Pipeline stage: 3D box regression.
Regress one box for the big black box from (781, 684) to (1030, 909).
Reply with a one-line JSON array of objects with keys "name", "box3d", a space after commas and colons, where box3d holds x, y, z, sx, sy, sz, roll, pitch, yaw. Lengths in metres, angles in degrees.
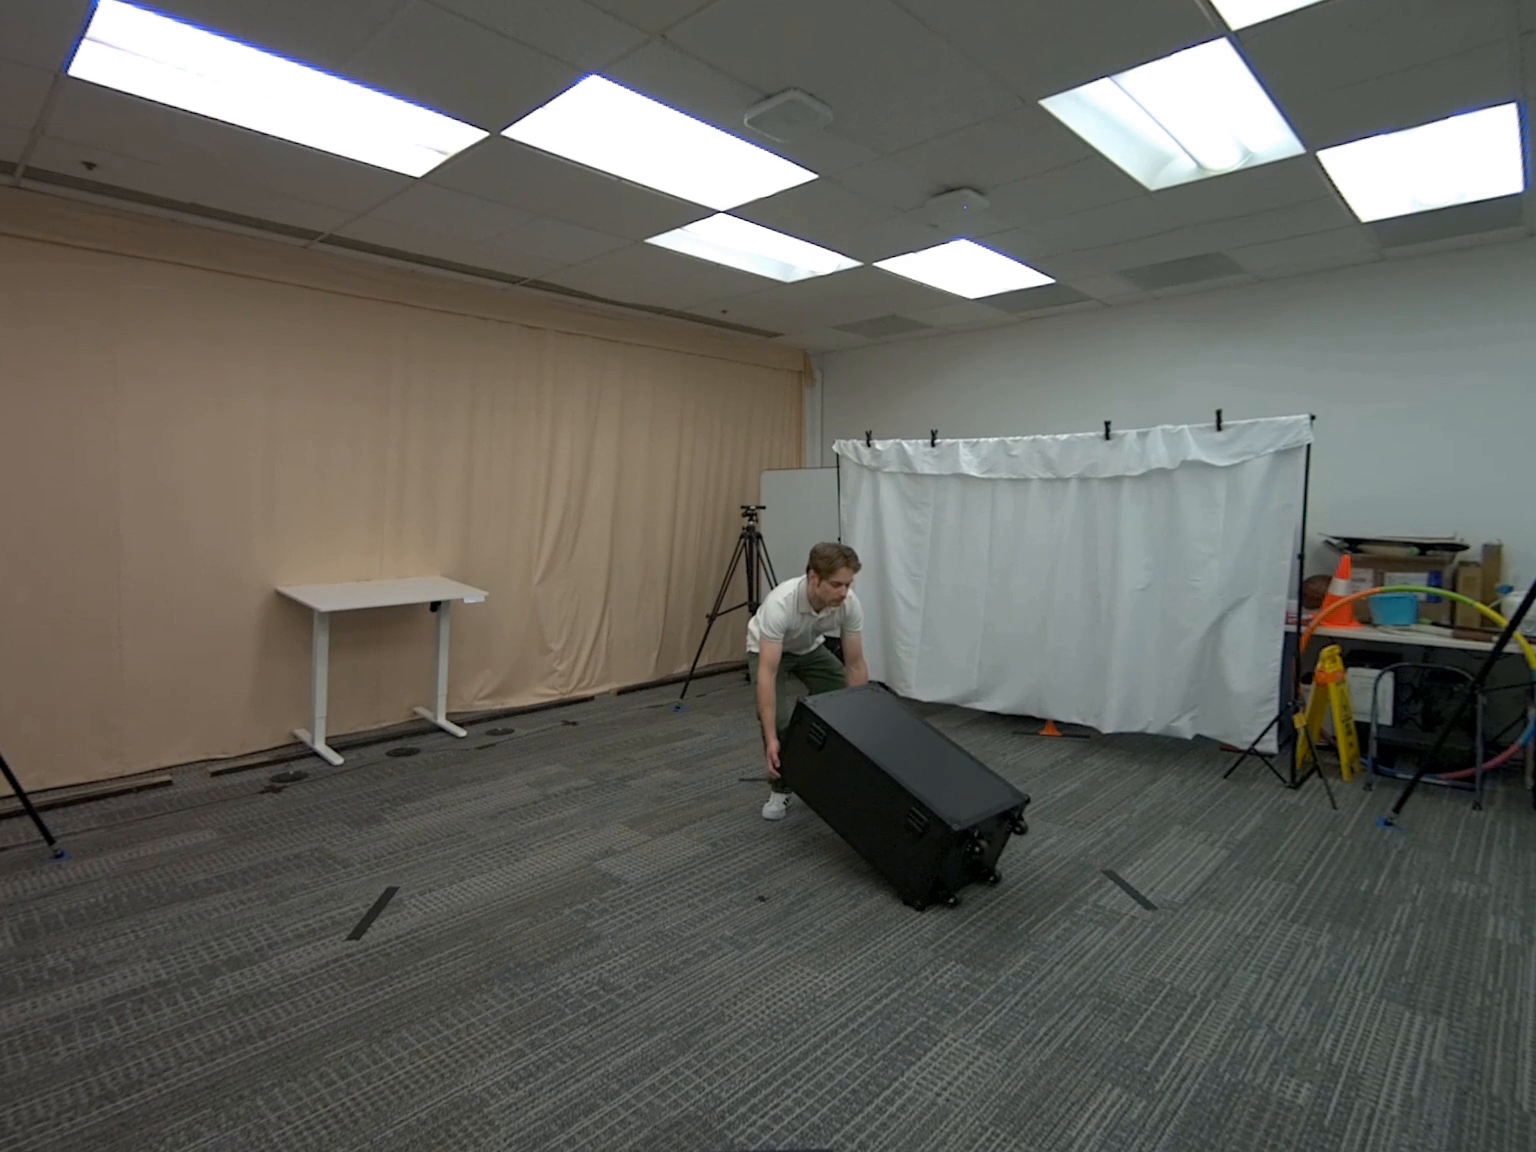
[{"name": "big black box", "box3d": [0.511, 0.830, 3.204, 0.505, 0.394, 0.893, -4, 29, -43]}]
